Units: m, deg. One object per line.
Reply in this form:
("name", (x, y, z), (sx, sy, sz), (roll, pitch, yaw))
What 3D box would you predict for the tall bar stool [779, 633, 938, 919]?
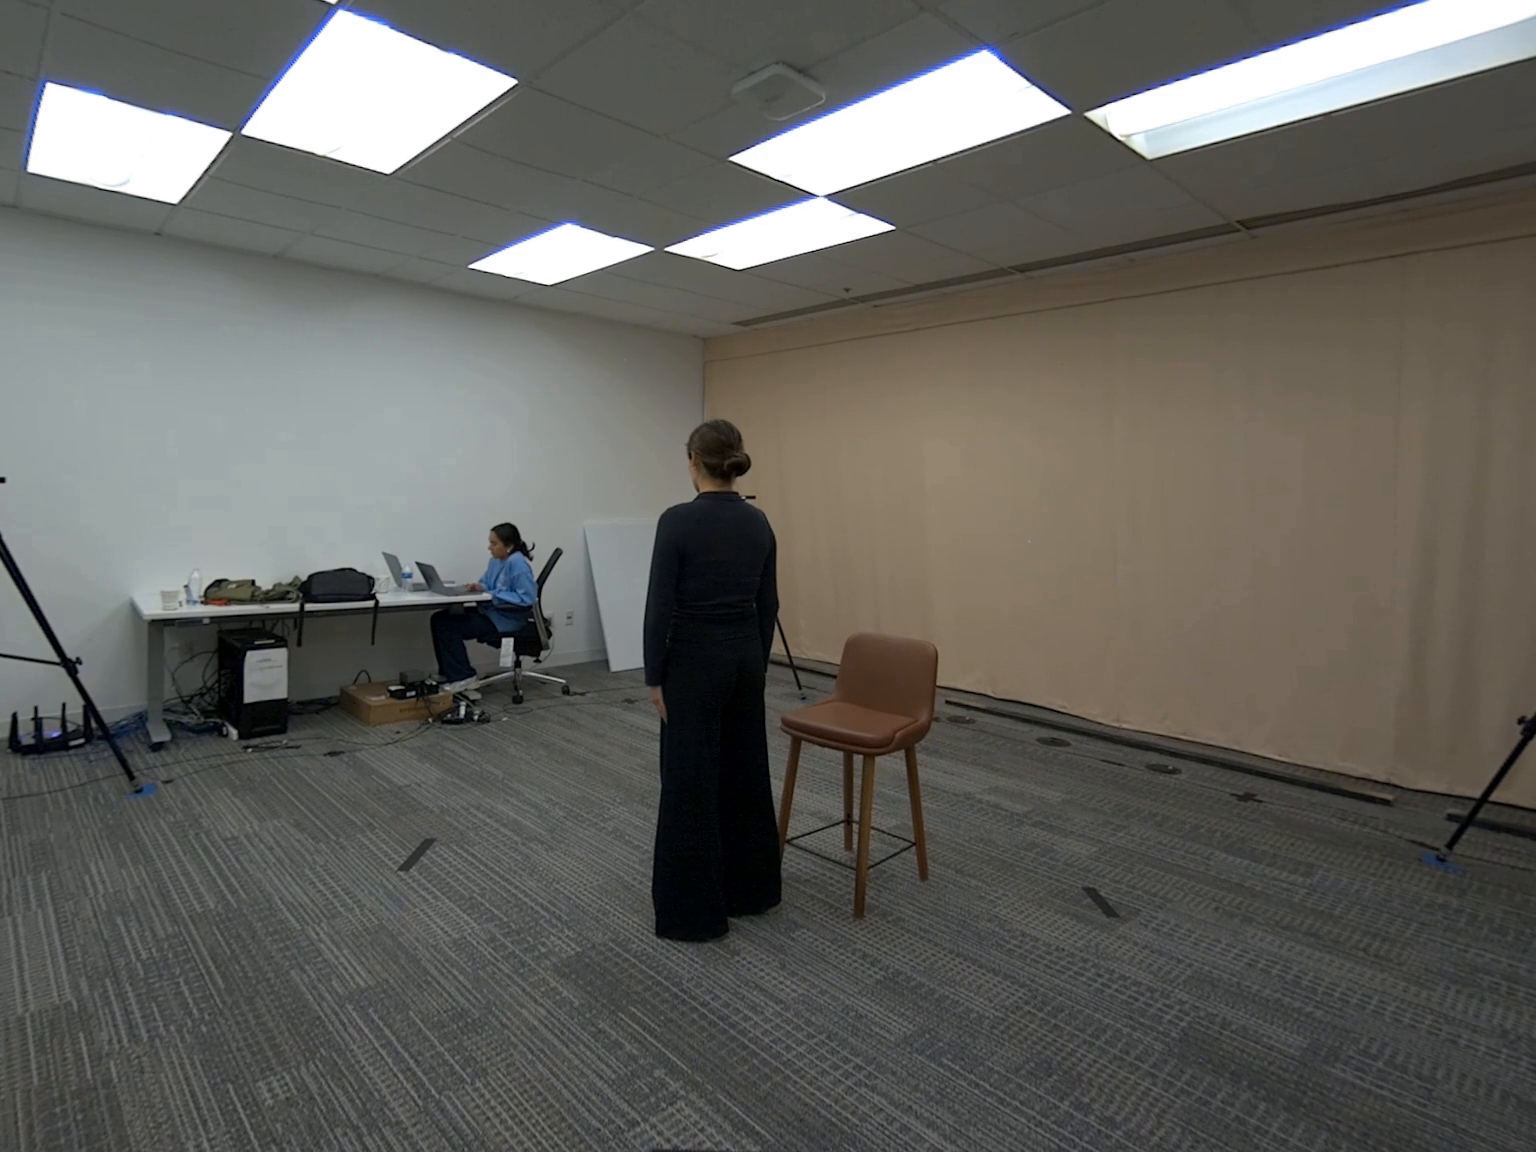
("tall bar stool", (0.322, 0.681, 3.066), (0.468, 0.888, 0.456), (5, 3, 44))
